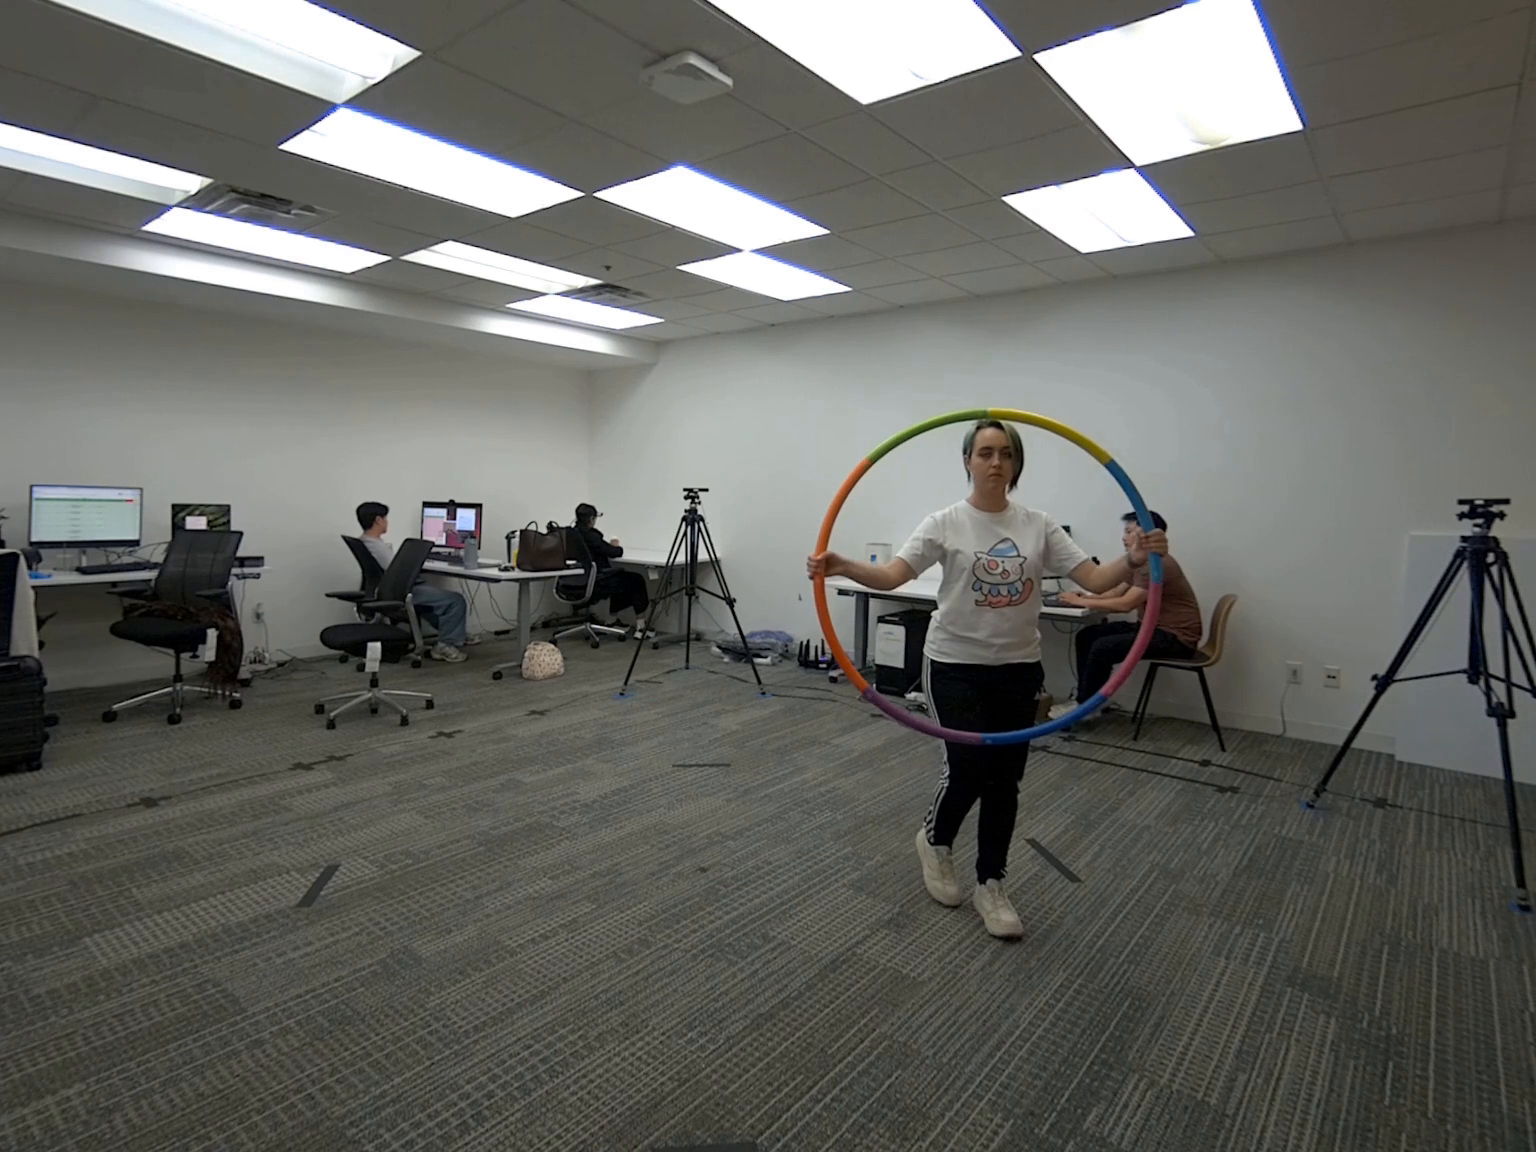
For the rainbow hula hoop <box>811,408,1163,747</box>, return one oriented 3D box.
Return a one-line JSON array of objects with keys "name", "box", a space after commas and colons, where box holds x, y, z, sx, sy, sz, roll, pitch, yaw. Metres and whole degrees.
[{"name": "rainbow hula hoop", "box": [0.618, 0.005, 2.487, 0.984, 0.976, 0.035, 1, 2, 5]}]
